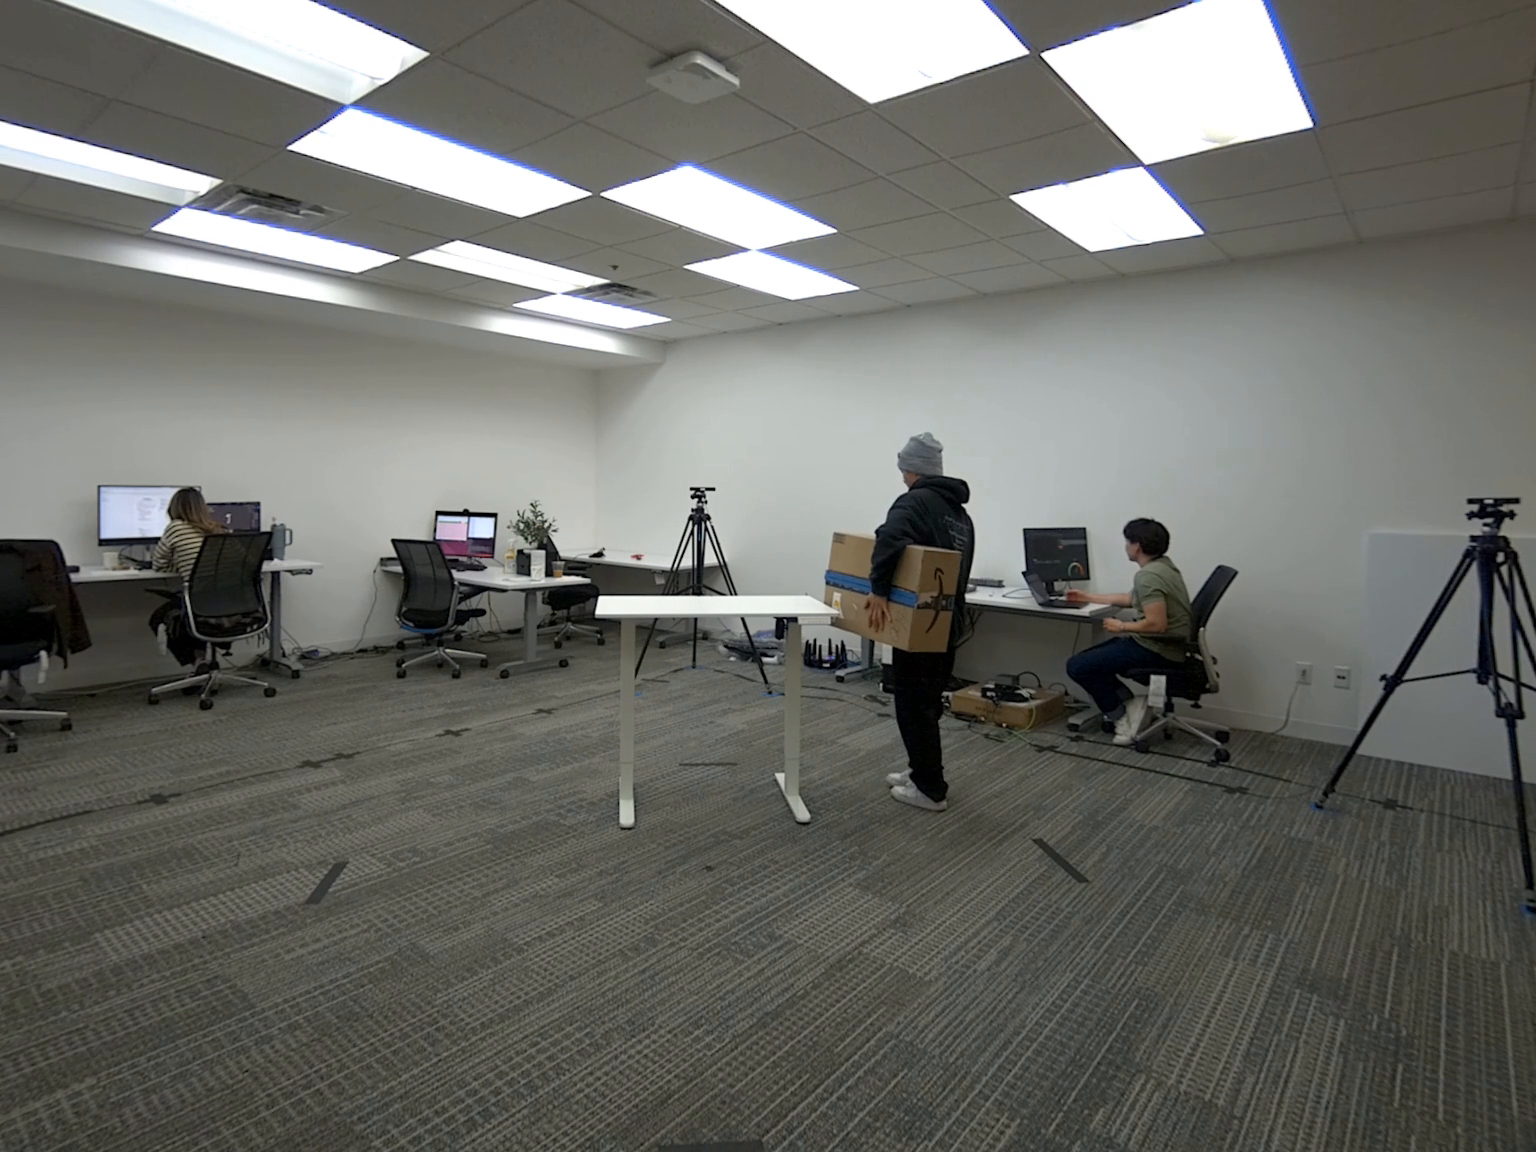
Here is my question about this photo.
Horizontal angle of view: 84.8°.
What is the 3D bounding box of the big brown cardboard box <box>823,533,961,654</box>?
[{"bbox_3d":[0.503,0.053,3.649,0.226,0.416,0.609,3,6,-34],"label":"big brown cardboard box"}]
